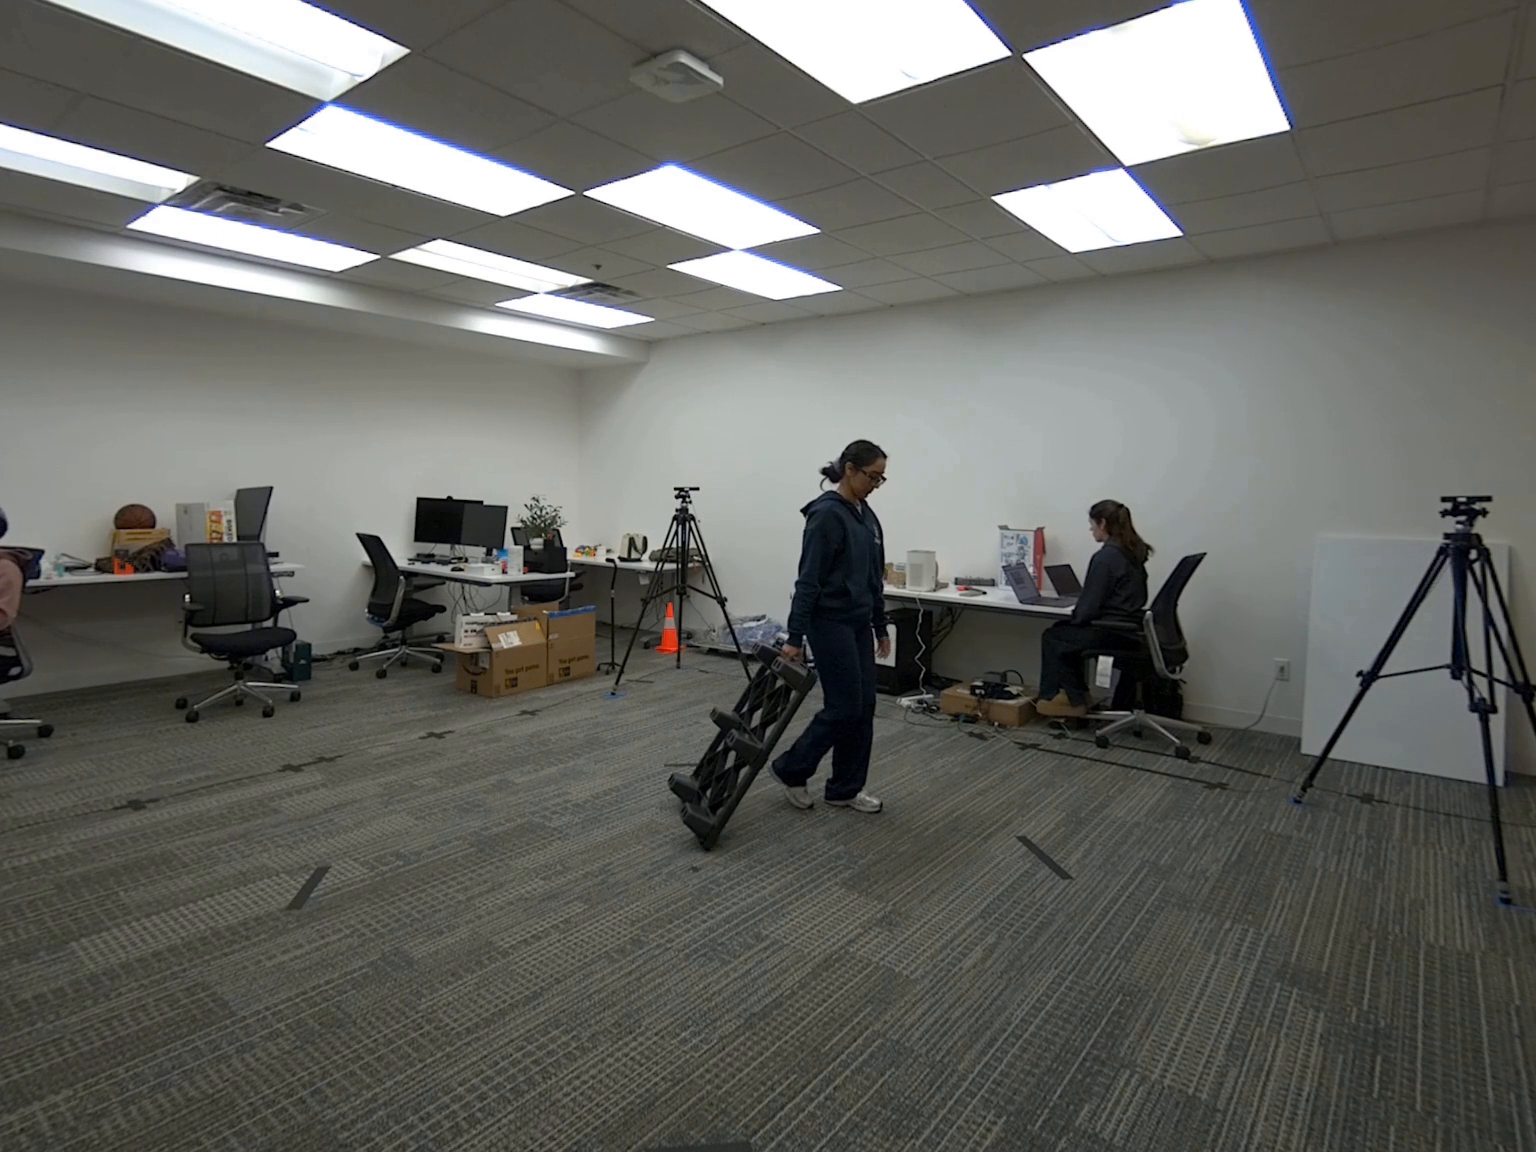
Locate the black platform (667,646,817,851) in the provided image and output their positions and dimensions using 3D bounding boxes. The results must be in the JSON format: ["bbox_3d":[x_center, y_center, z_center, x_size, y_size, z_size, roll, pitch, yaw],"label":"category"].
[{"bbox_3d":[-0.148,0.658,3.539,0.141,0.806,0.615,33,-3,-14],"label":"black platform"}]
